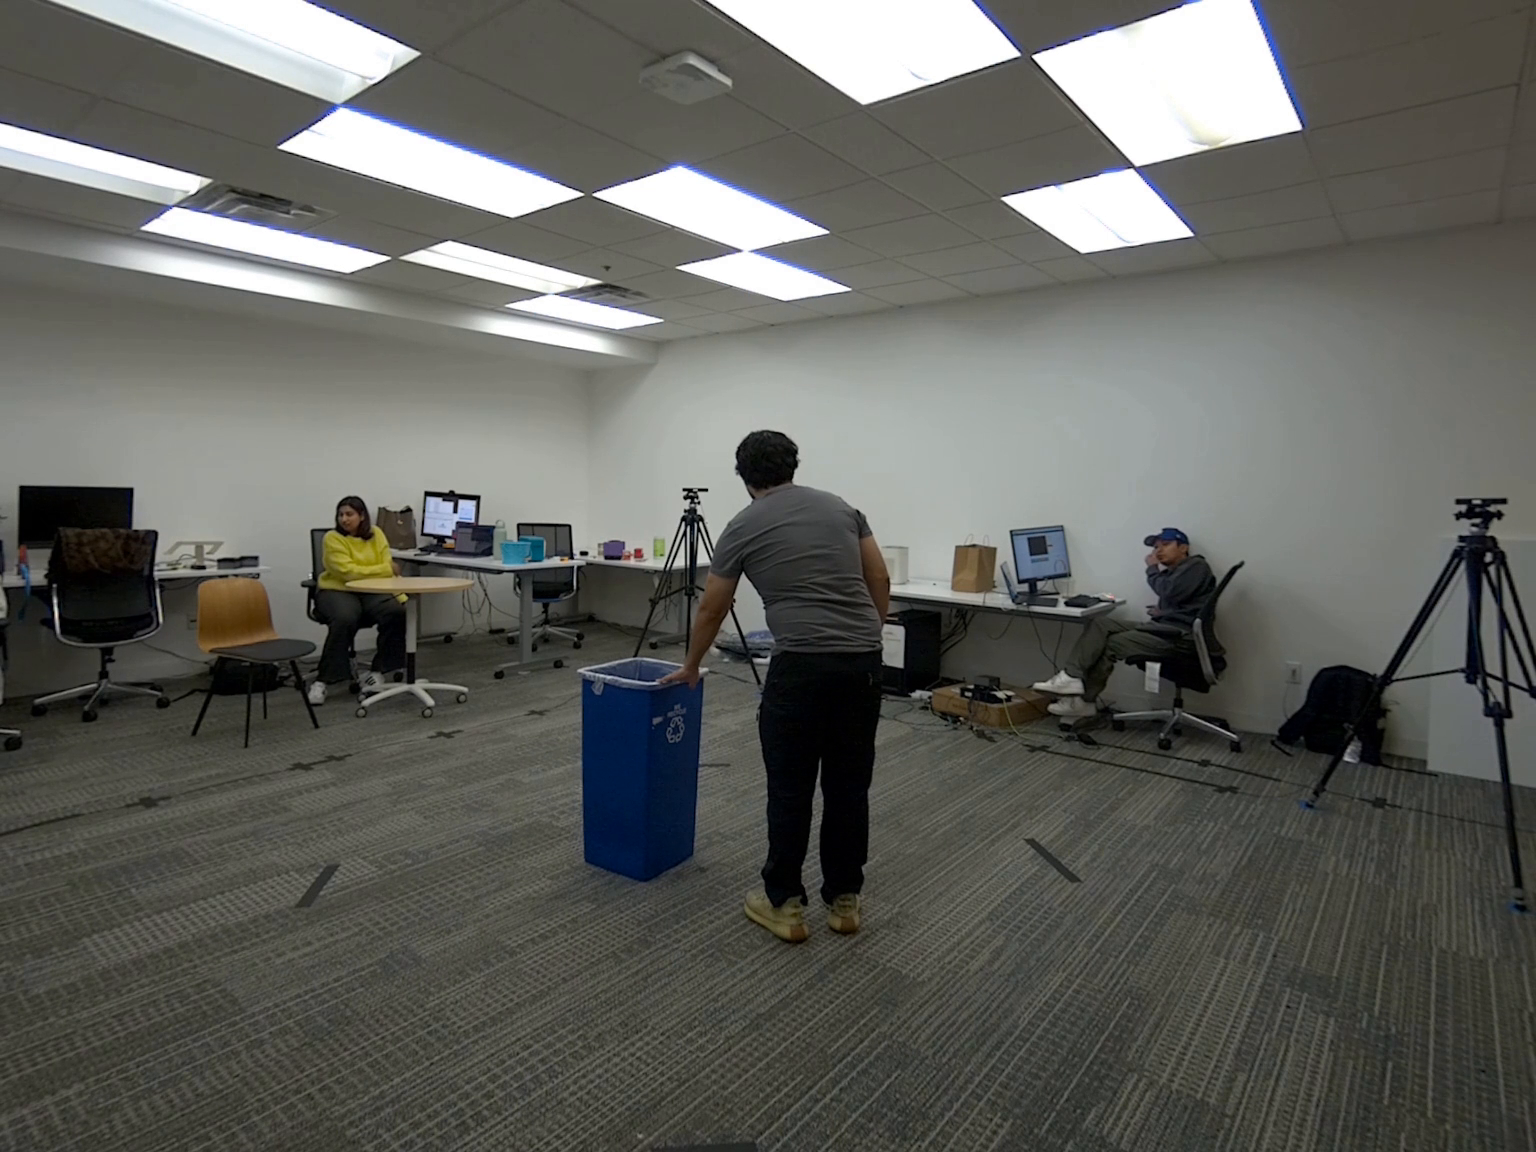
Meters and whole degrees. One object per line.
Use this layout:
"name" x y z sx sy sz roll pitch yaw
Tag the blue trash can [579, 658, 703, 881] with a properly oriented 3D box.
"blue trash can" -0.483 0.699 3.188 0.390 0.712 0.364 3 4 32
